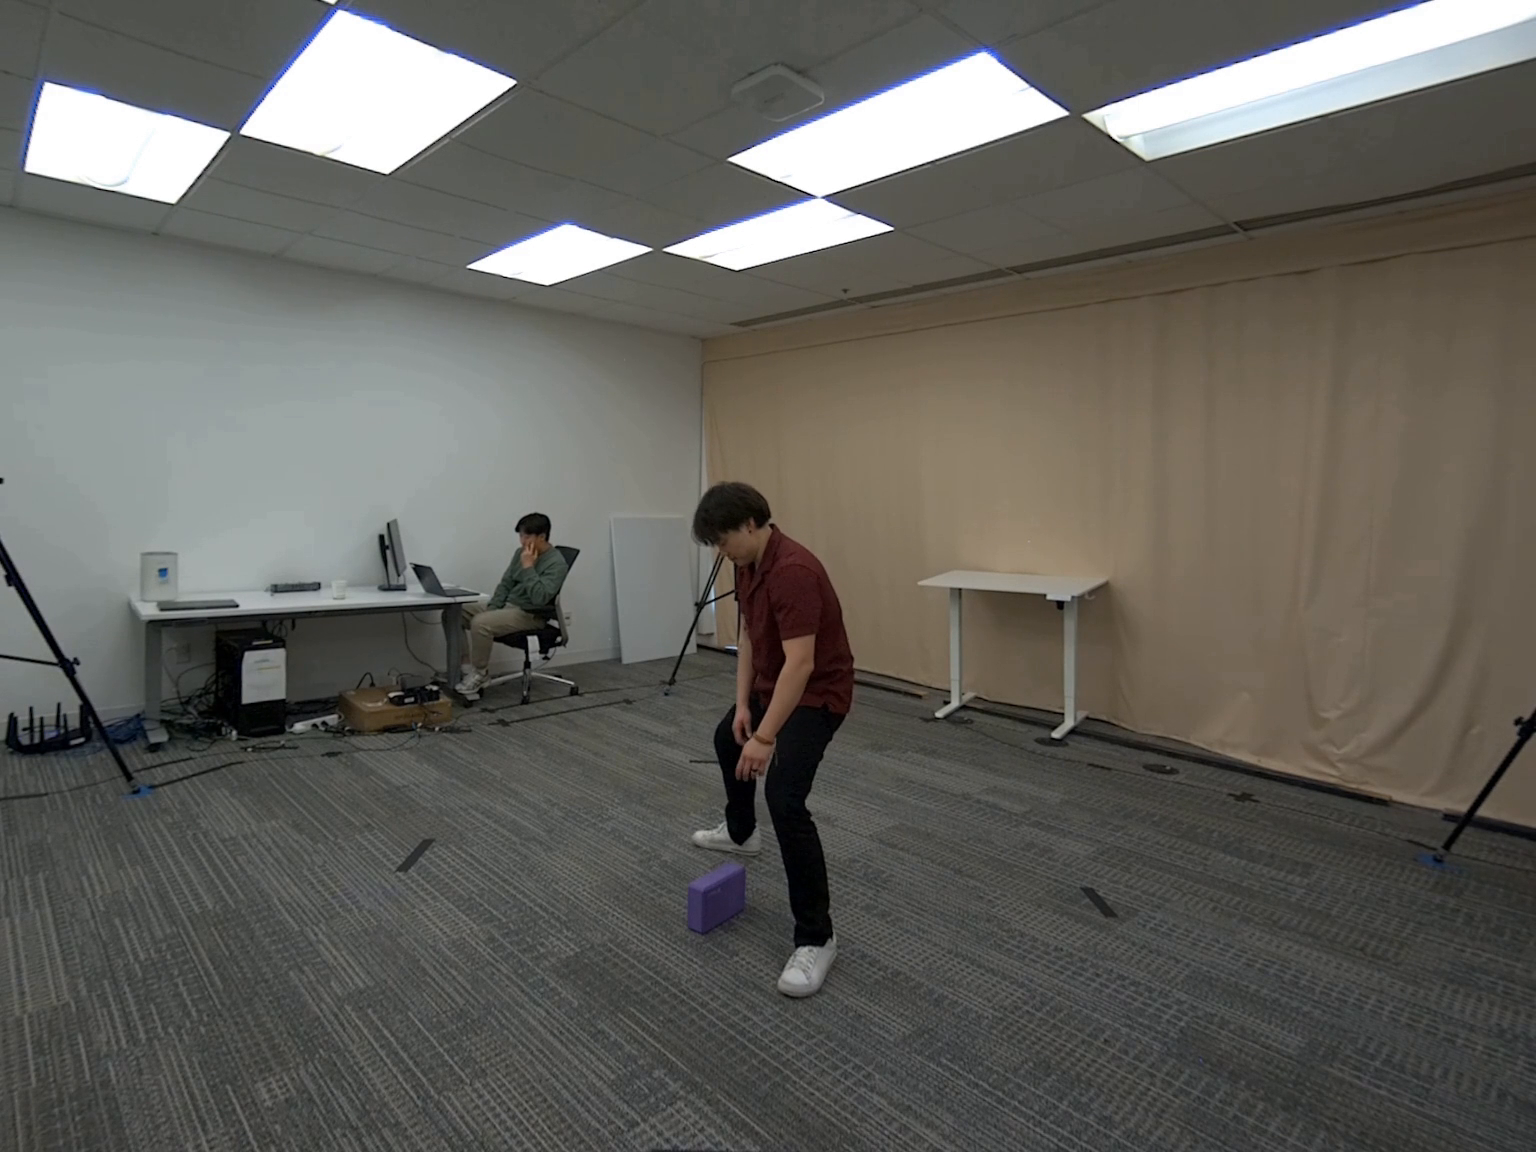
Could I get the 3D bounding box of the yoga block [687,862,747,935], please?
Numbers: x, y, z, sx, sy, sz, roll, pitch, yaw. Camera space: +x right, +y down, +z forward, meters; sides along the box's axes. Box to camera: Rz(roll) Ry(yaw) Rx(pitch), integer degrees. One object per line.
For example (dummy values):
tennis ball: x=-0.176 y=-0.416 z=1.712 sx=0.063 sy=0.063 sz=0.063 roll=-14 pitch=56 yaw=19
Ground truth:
yoga block: x=-0.176 y=1.058 z=2.770 sx=0.078 sy=0.148 sz=0.224 roll=3 pitch=6 yaw=36
